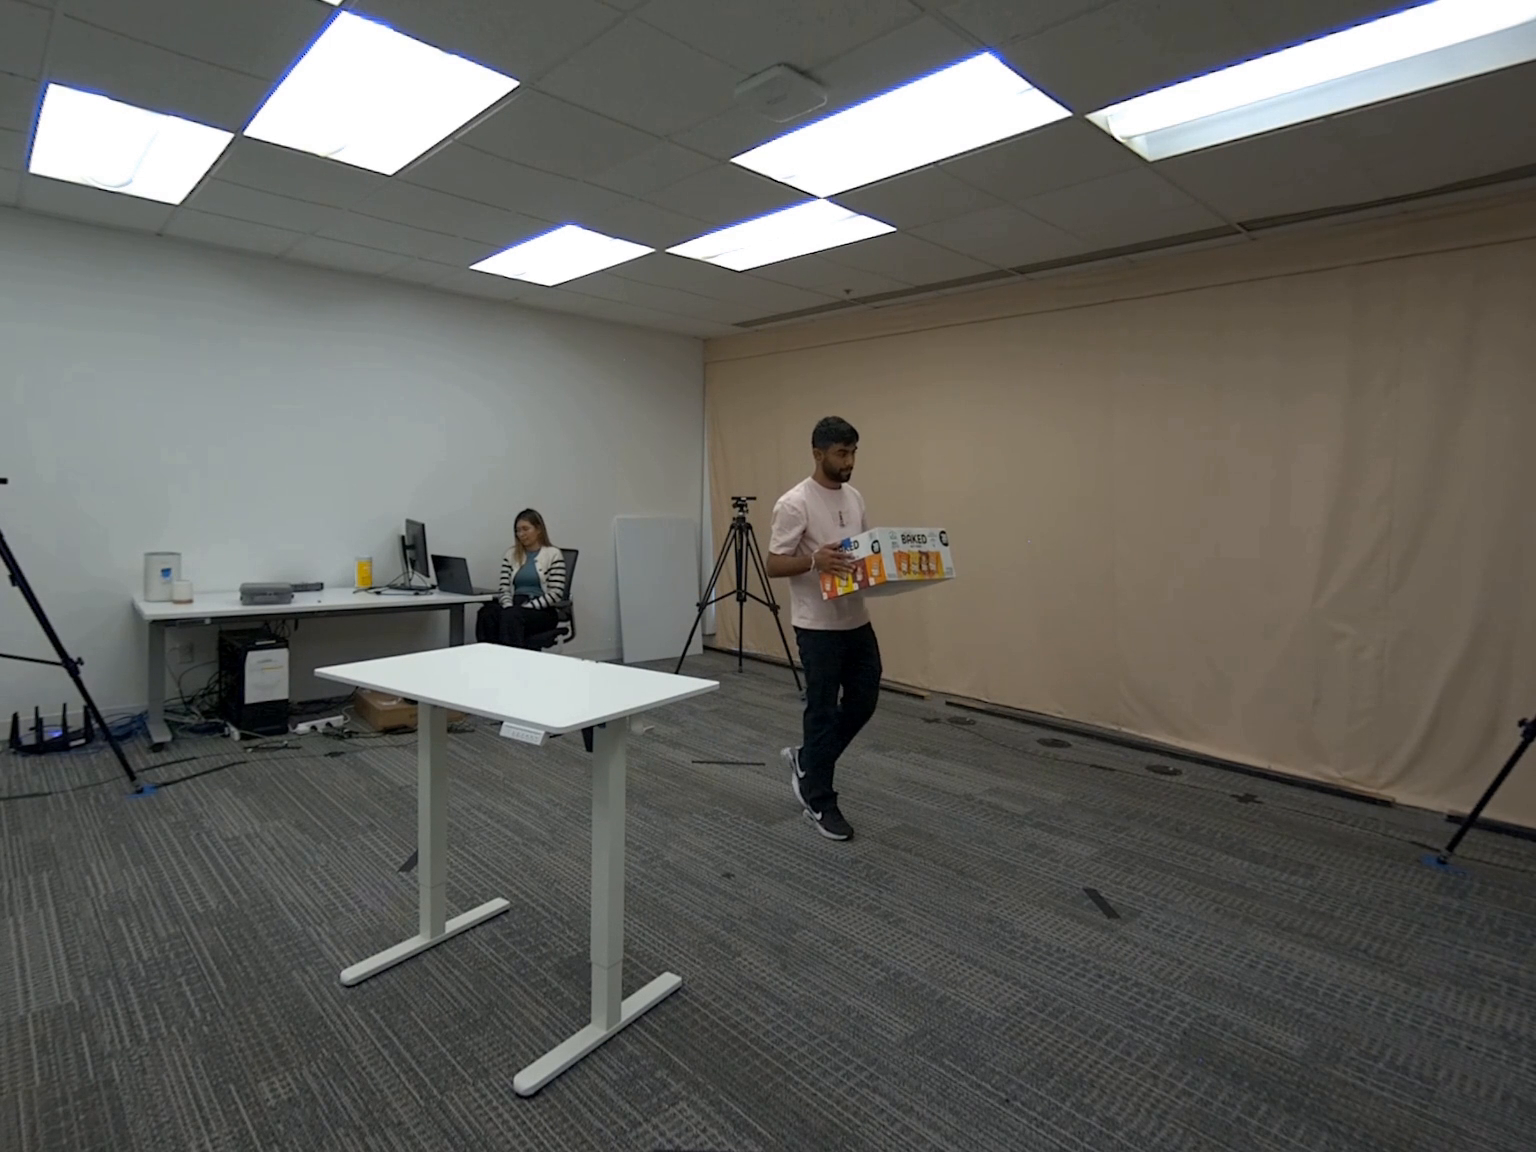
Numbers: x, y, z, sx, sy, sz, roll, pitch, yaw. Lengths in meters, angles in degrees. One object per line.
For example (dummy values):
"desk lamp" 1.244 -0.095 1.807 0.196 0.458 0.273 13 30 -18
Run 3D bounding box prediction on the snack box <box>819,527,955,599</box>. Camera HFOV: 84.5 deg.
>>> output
"snack box" 0.446 -0.049 3.298 0.396 0.207 0.345 -1 -11 -40
